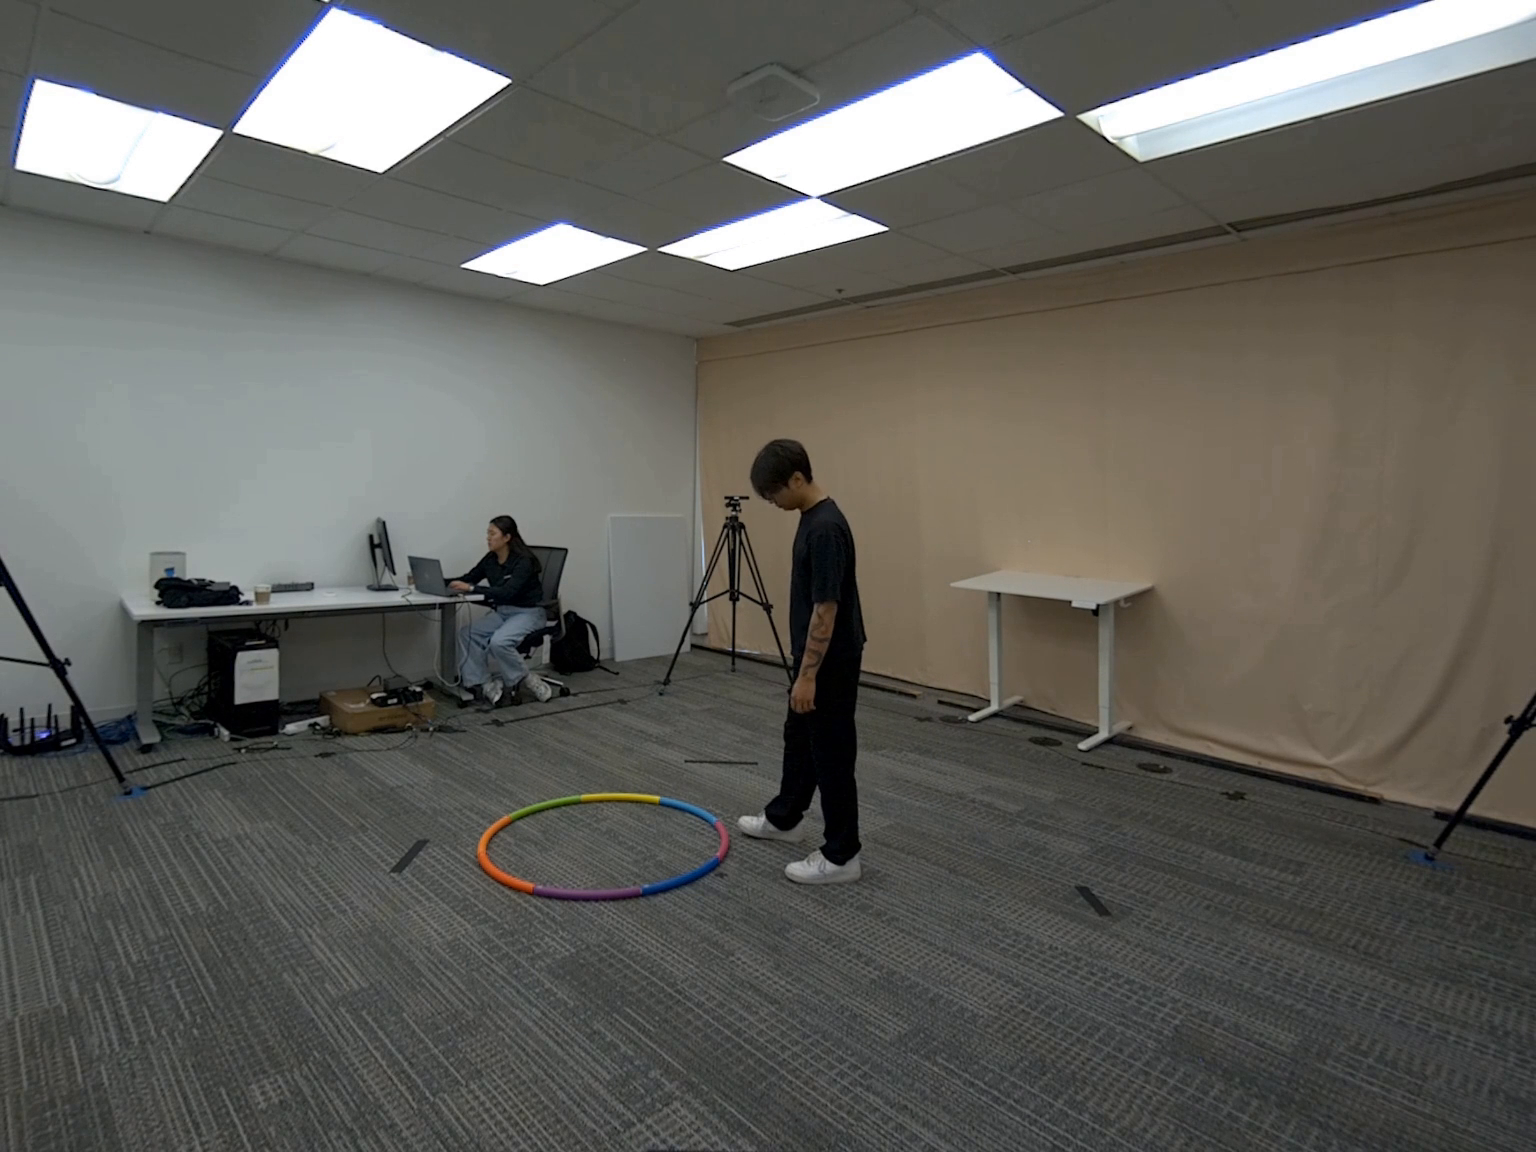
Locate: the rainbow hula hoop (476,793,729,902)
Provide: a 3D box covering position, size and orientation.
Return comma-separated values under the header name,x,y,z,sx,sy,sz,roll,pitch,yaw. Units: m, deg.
name,x,y,z,sx,sy,sz,roll,pitch,yaw
rainbow hula hoop,-0.648,1.042,3.362,0.978,0.035,0.982,1,5,-1
